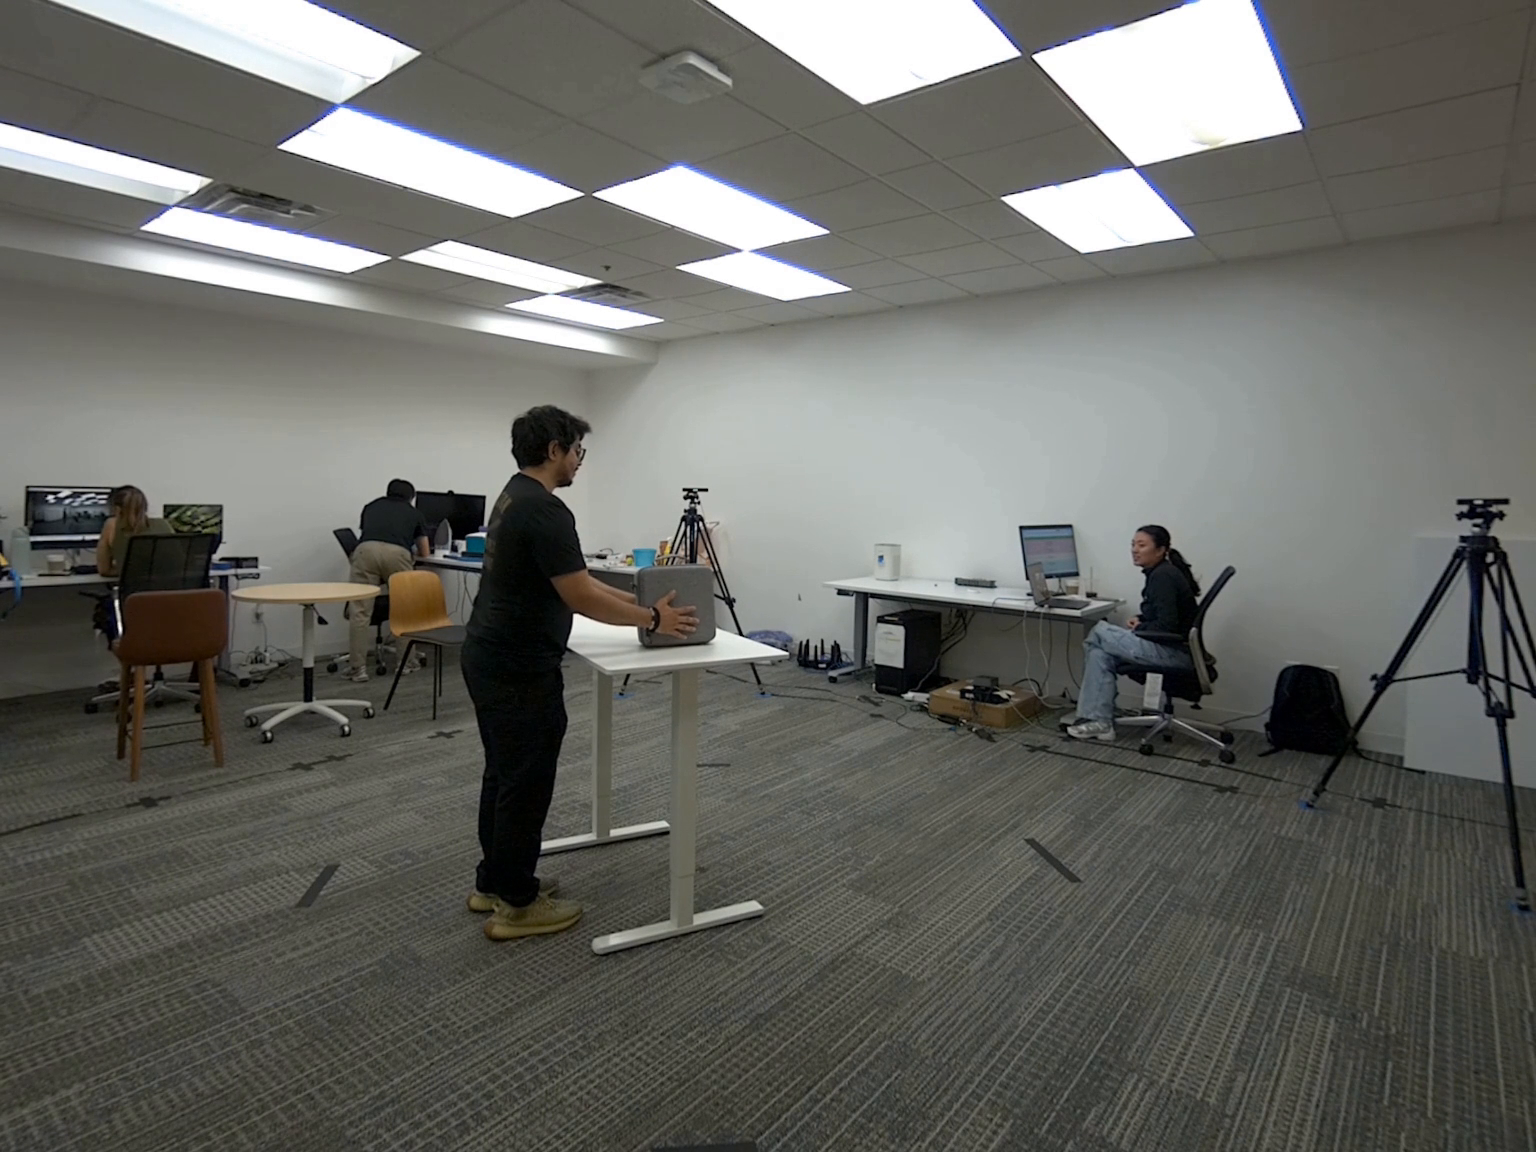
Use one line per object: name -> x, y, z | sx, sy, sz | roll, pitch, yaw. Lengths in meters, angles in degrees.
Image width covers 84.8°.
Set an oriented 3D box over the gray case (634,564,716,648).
gray case -> -0.314, 0.090, 2.764 | 0.253, 0.261, 0.106 | -1, -3, -15
